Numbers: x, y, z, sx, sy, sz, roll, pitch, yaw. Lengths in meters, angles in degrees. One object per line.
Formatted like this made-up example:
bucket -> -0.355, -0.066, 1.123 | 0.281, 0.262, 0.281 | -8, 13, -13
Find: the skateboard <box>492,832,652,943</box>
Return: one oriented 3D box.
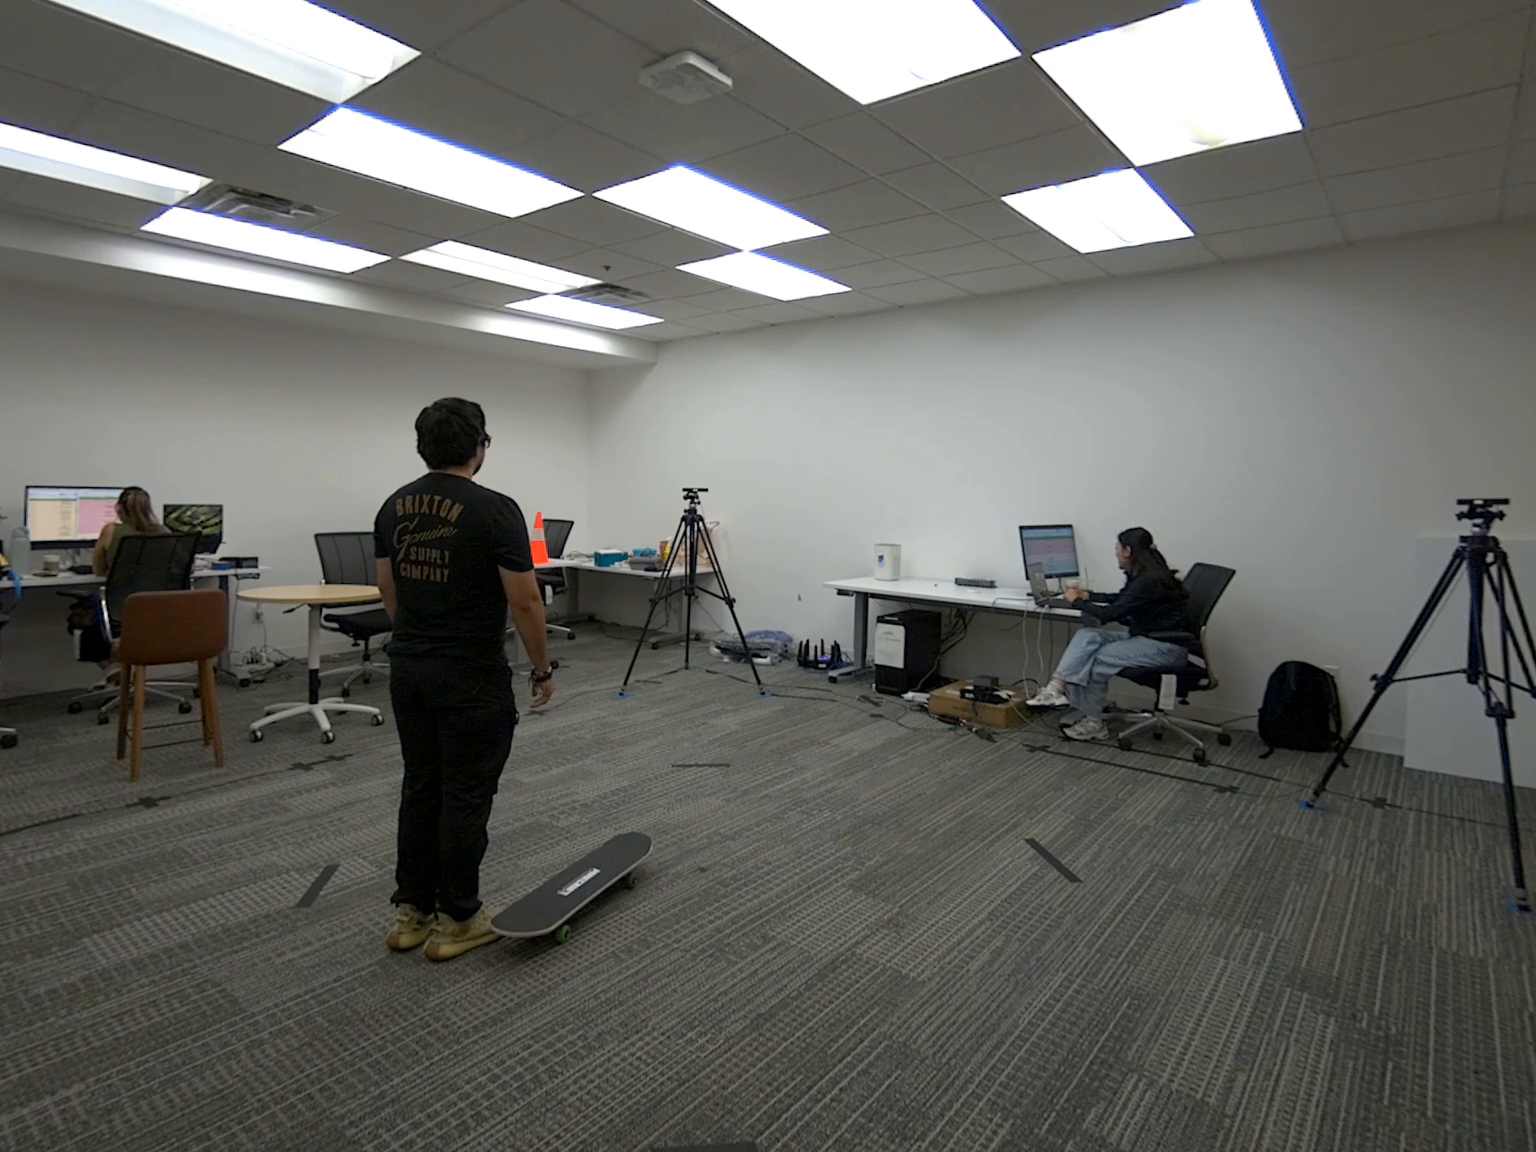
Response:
skateboard -> -0.627, 1.035, 2.810 | 0.198, 0.110, 0.770 | 2, 6, 22
